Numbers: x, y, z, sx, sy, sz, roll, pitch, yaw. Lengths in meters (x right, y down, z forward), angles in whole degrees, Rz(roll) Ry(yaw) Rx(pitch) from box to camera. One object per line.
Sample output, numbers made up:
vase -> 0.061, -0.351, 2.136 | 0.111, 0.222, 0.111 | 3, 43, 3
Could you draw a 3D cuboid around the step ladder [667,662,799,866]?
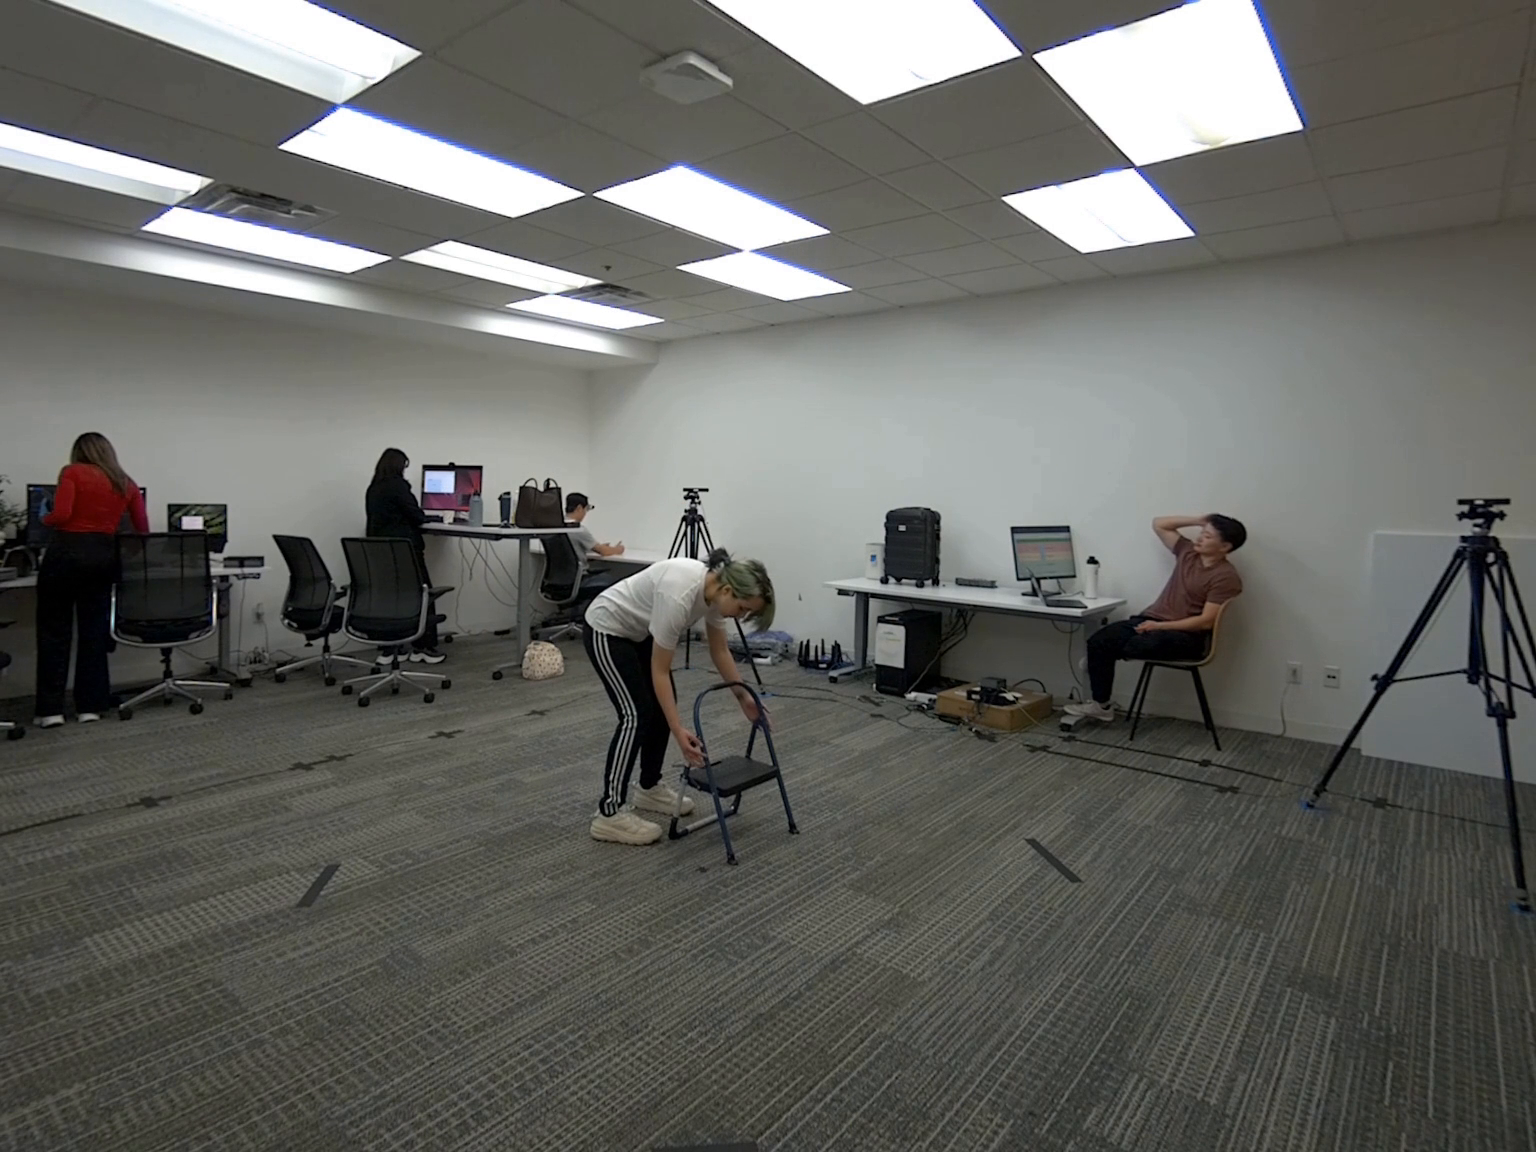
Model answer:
step ladder -> -0.137, 0.741, 3.400 | 0.361, 0.604, 0.418 | 4, 4, 38
